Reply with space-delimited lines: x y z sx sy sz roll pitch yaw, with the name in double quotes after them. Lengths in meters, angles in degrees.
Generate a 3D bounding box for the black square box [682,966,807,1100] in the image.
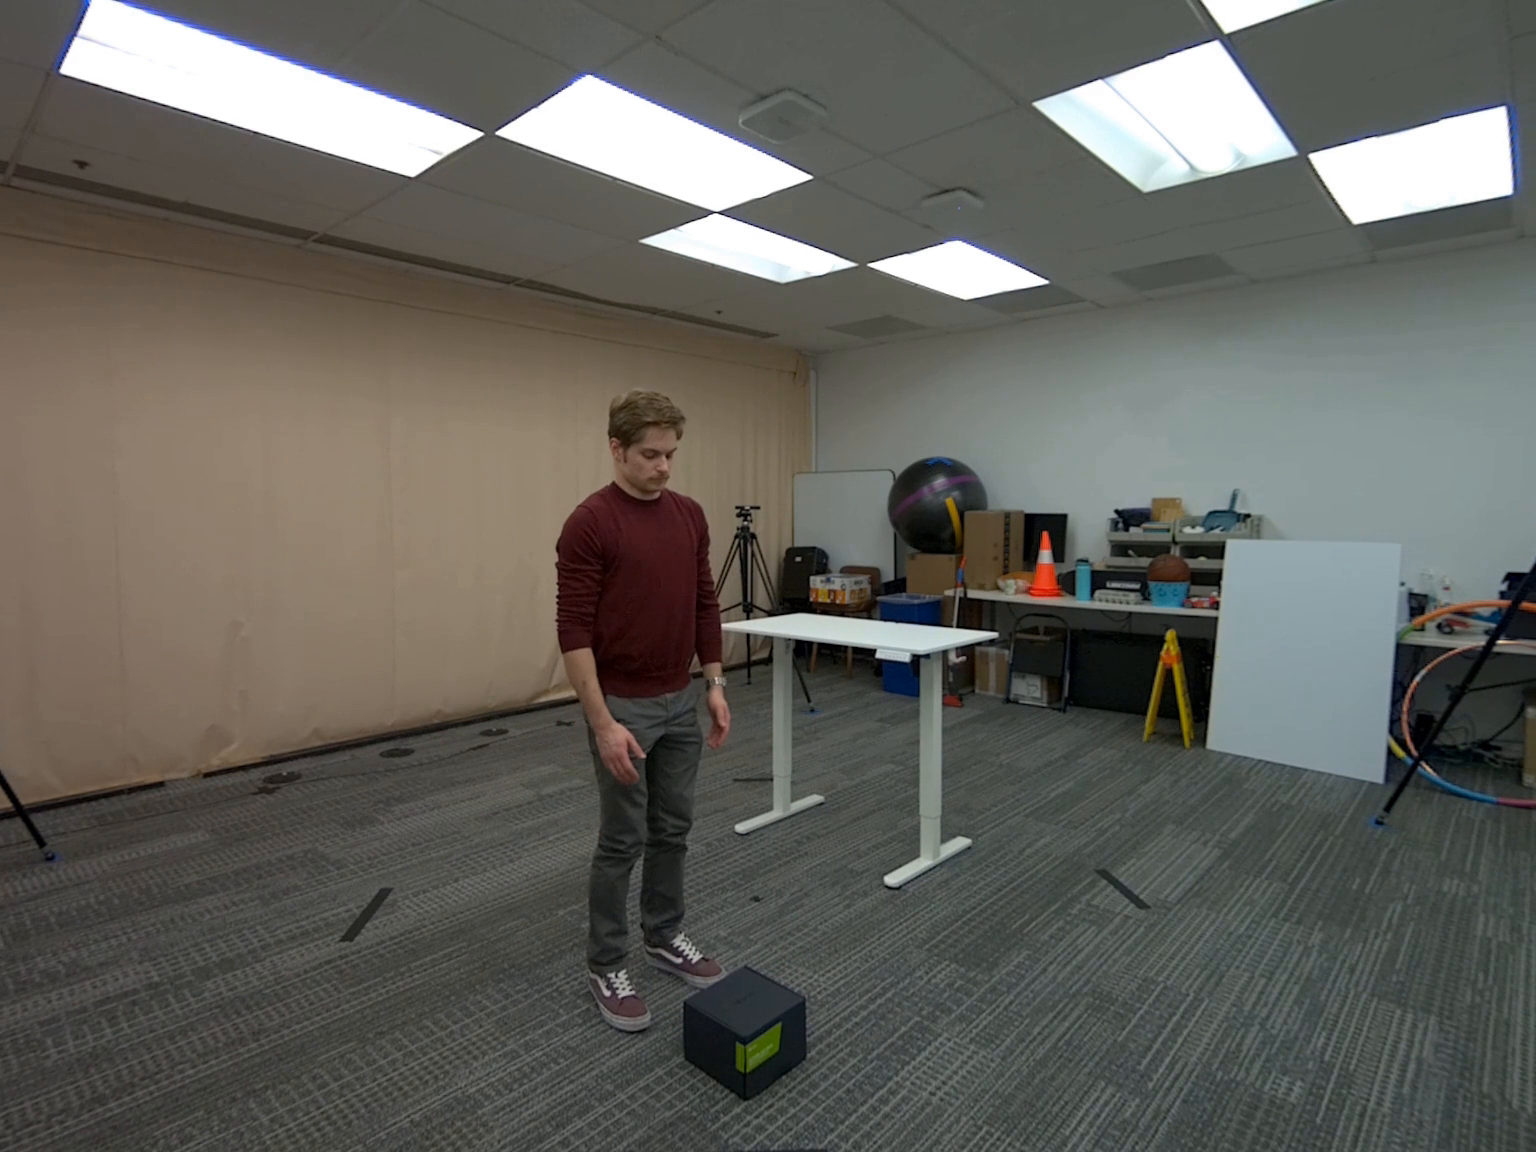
-0.052 1.138 2.110 0.224 0.155 0.221 4 6 43 "black square box"
